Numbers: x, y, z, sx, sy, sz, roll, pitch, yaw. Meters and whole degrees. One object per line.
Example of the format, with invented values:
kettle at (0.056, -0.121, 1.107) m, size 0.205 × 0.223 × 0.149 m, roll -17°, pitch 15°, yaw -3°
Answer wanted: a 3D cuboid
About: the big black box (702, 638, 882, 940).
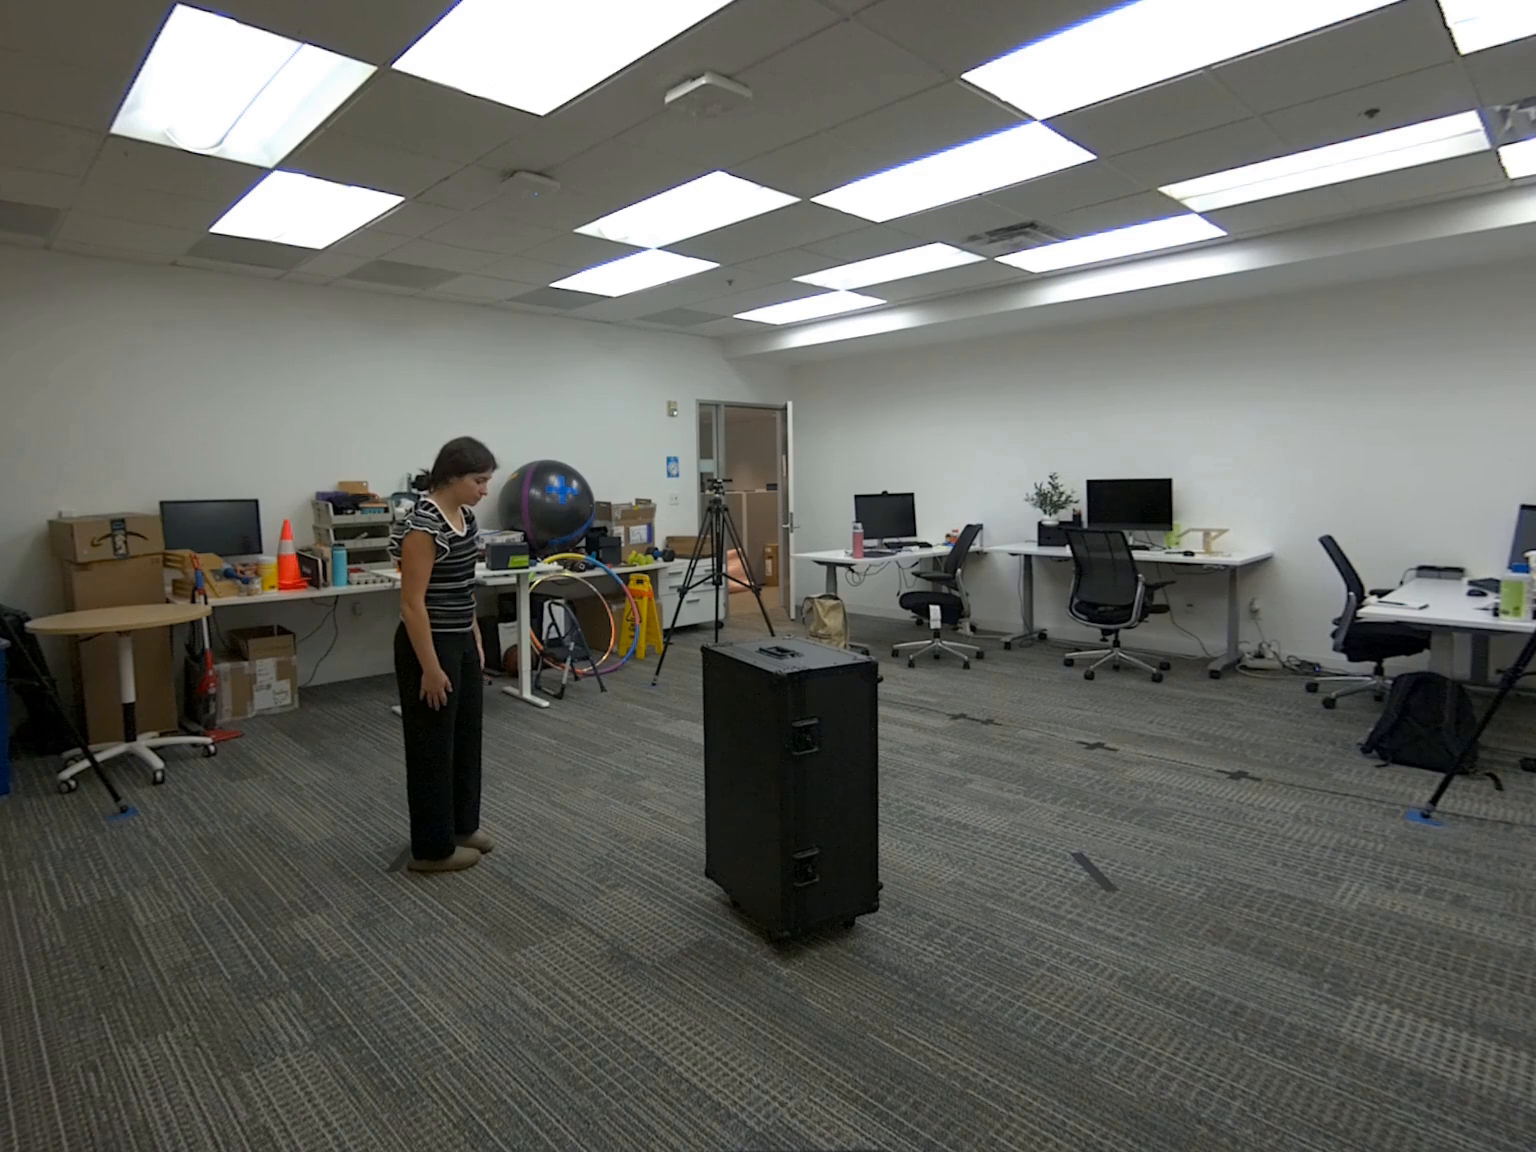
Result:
big black box at (0.071, 0.660, 2.719) m, size 0.387 × 0.859 × 0.535 m, roll -2°, pitch 4°, yaw -30°
